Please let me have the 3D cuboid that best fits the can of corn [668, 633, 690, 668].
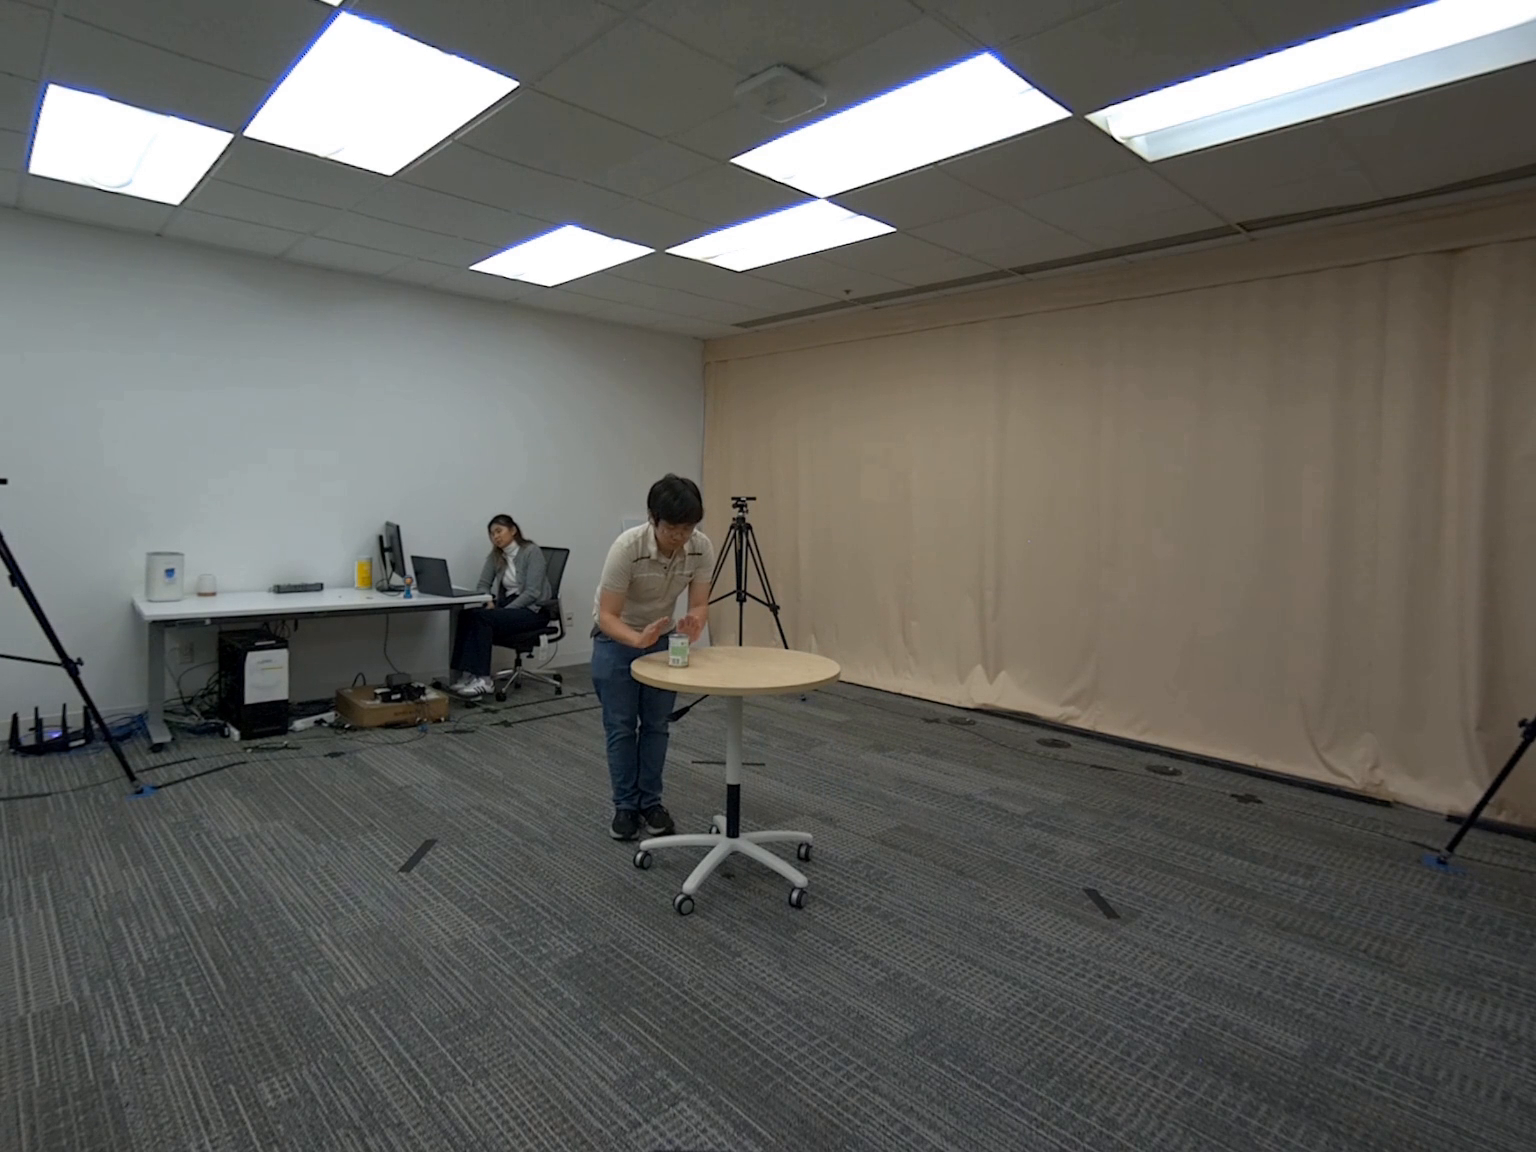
[{"bbox_3d":[-0.342,0.273,3.045,0.074,0.111,0.074,1,3,-1],"label":"can of corn"}]
